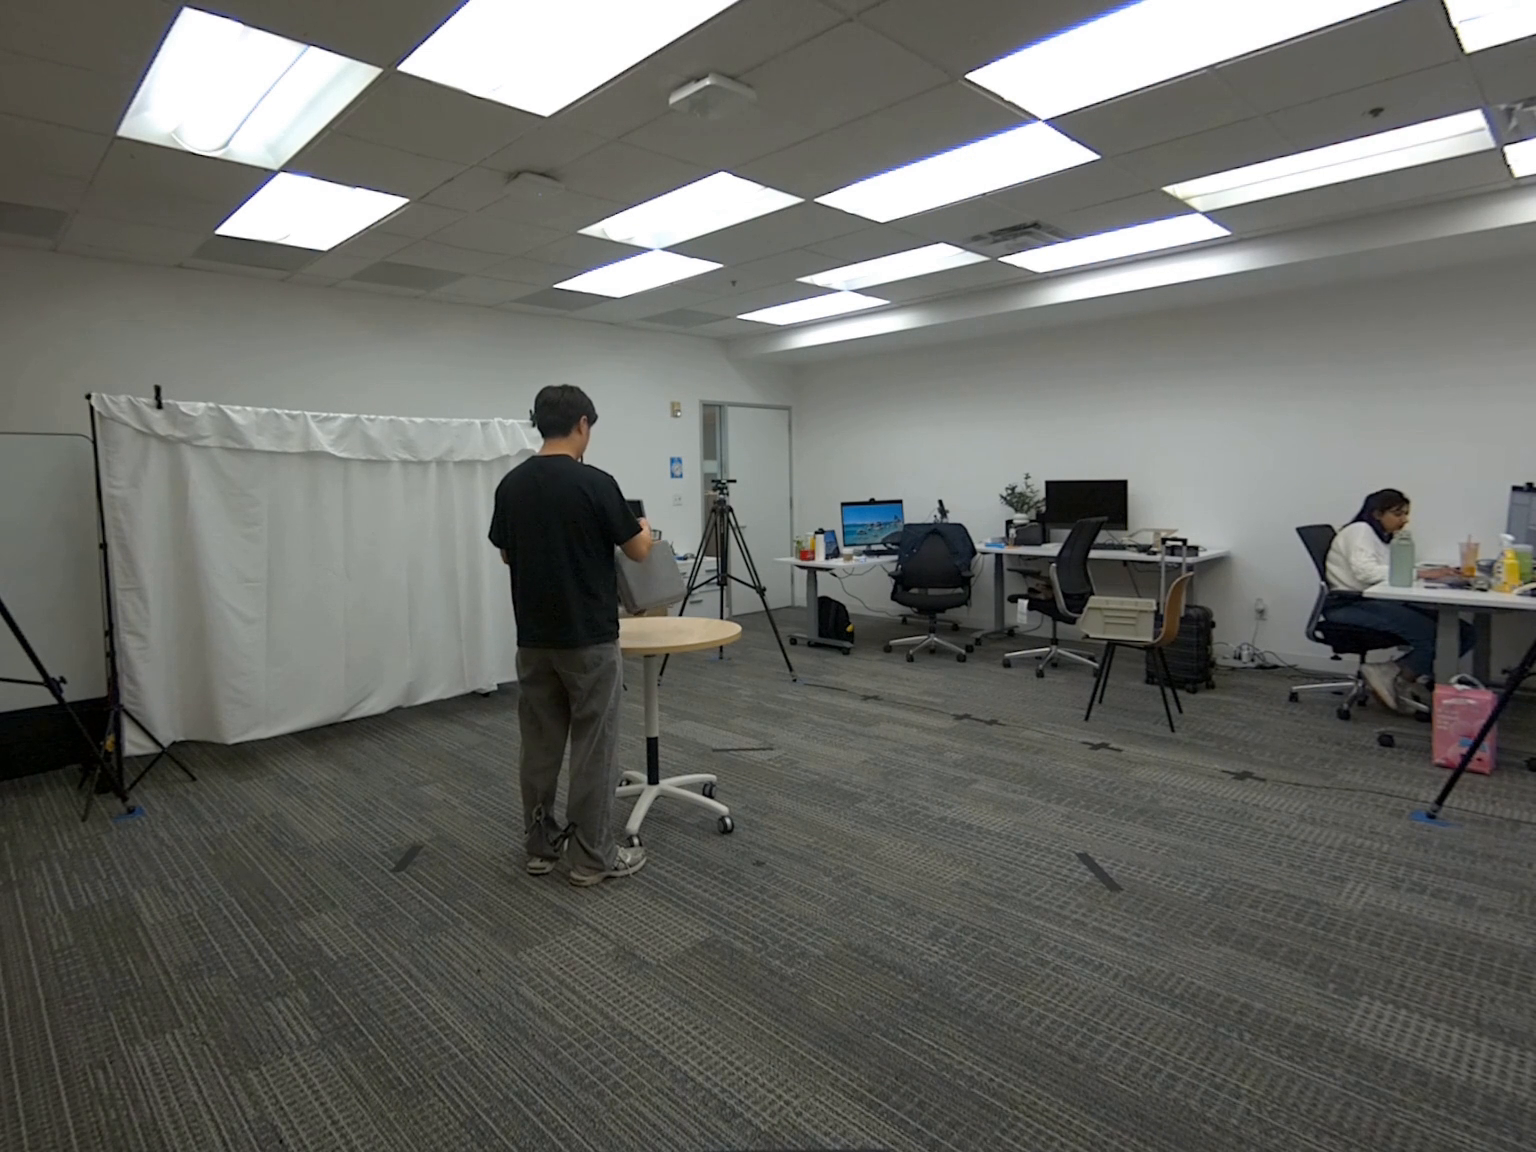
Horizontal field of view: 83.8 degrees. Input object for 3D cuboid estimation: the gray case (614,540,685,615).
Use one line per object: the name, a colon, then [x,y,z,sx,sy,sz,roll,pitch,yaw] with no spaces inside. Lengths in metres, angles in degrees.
gray case: [-0.471,-0.003,3.353,0.258,0.290,0.104,-16,-9,-32]
